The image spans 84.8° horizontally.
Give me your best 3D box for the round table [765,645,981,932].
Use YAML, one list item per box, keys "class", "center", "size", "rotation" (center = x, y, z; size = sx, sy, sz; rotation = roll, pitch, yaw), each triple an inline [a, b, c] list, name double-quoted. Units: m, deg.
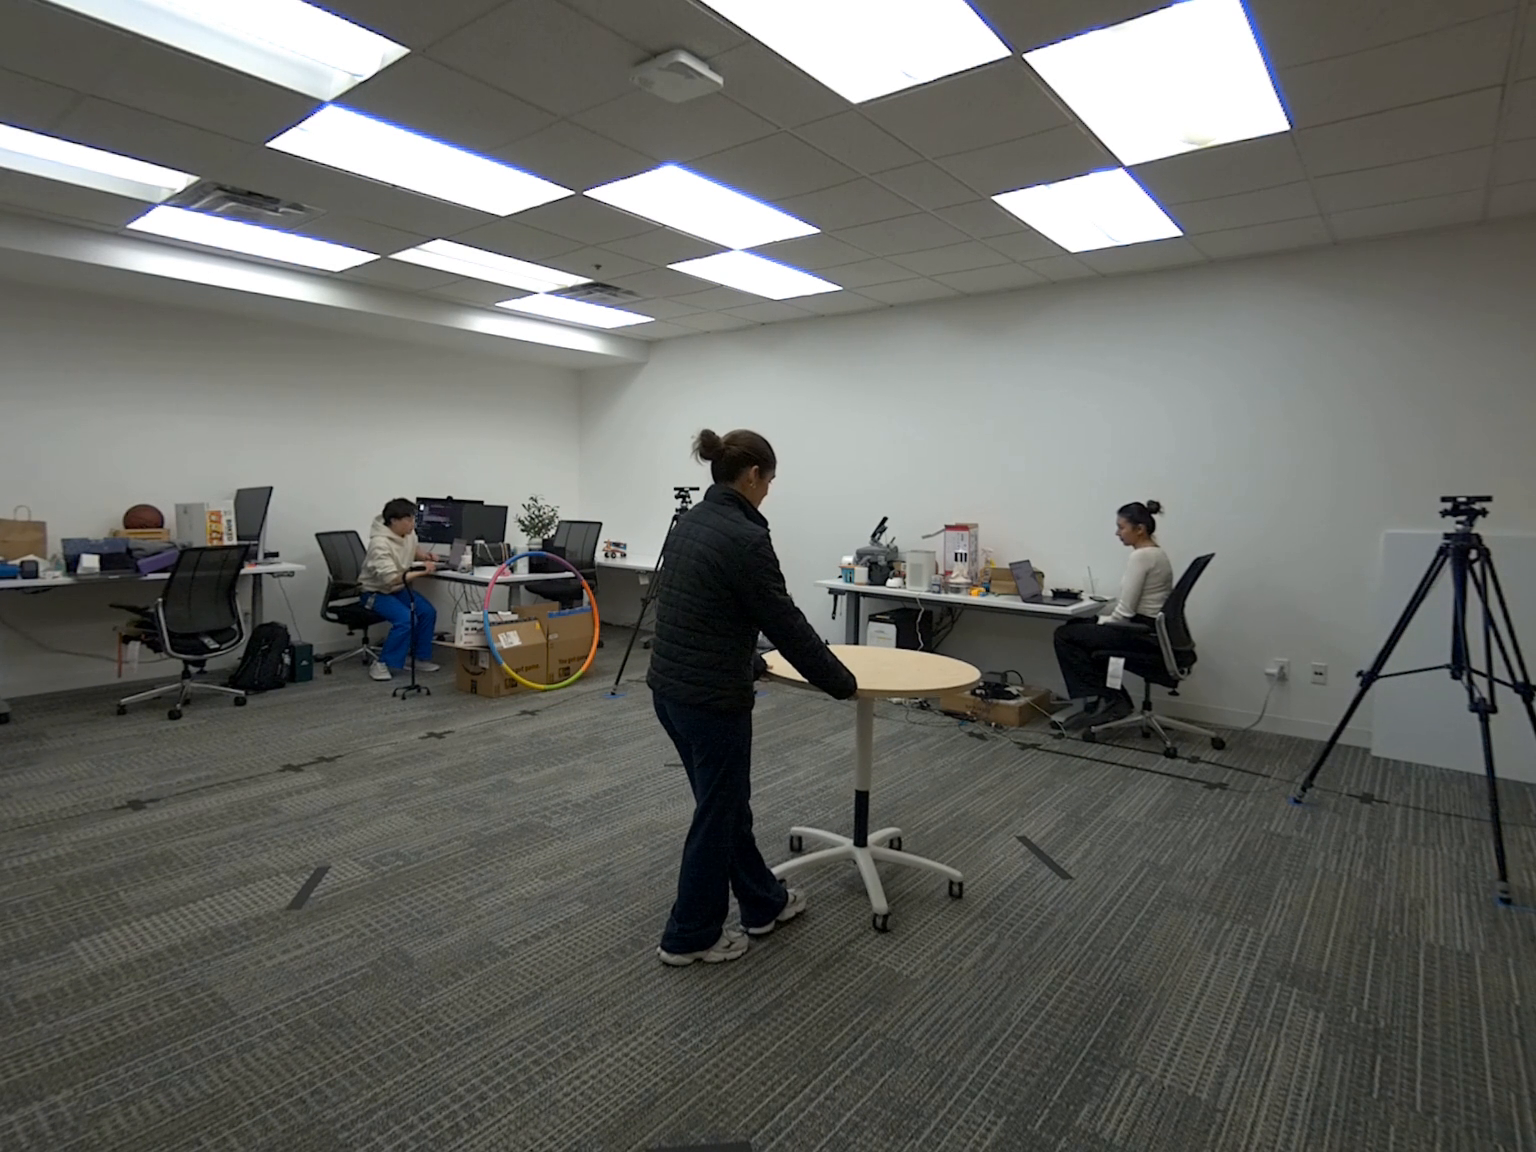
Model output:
- class: "round table"
  center: [0.334, 0.693, 3.006]
  size: [0.784, 0.784, 0.789]
  rotation: [1, 4, -2]
